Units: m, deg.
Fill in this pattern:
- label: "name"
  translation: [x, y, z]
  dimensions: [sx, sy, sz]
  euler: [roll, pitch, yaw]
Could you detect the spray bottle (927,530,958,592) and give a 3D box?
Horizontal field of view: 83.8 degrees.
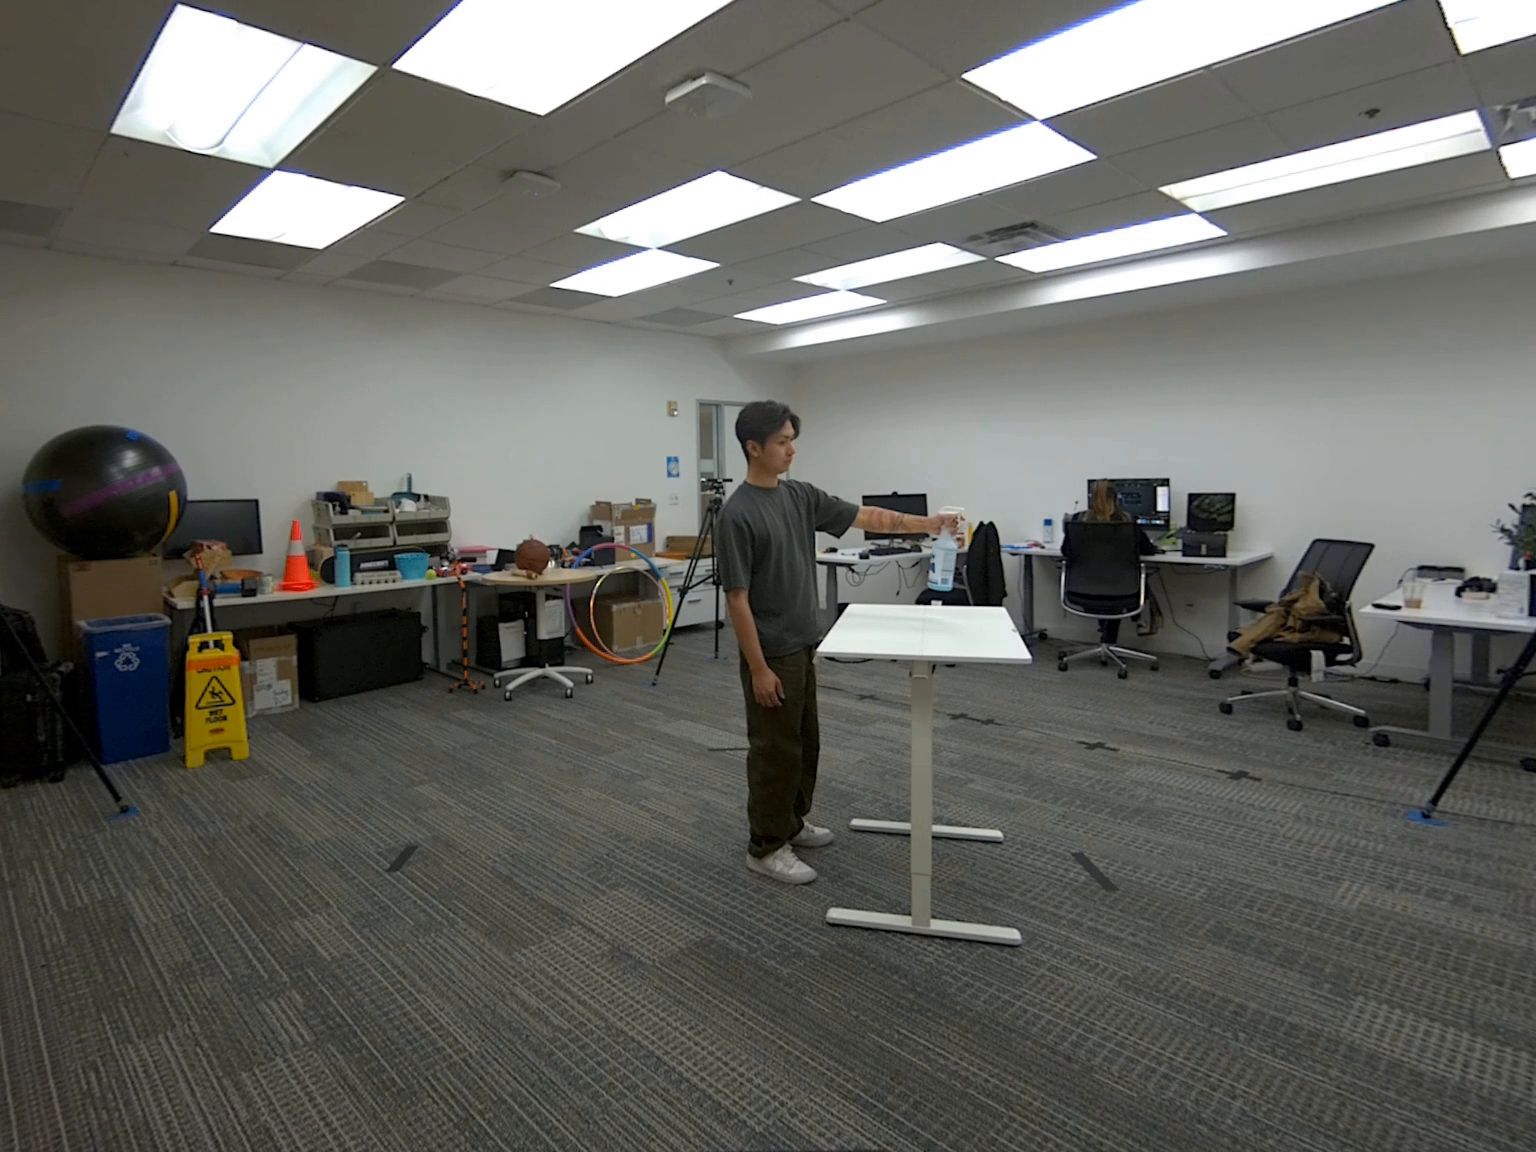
- label: "spray bottle"
  translation: [0.628, -0.098, 3.028]
  dimensions: [0.085, 0.295, 0.093]
  euler: [0, 11, -35]
